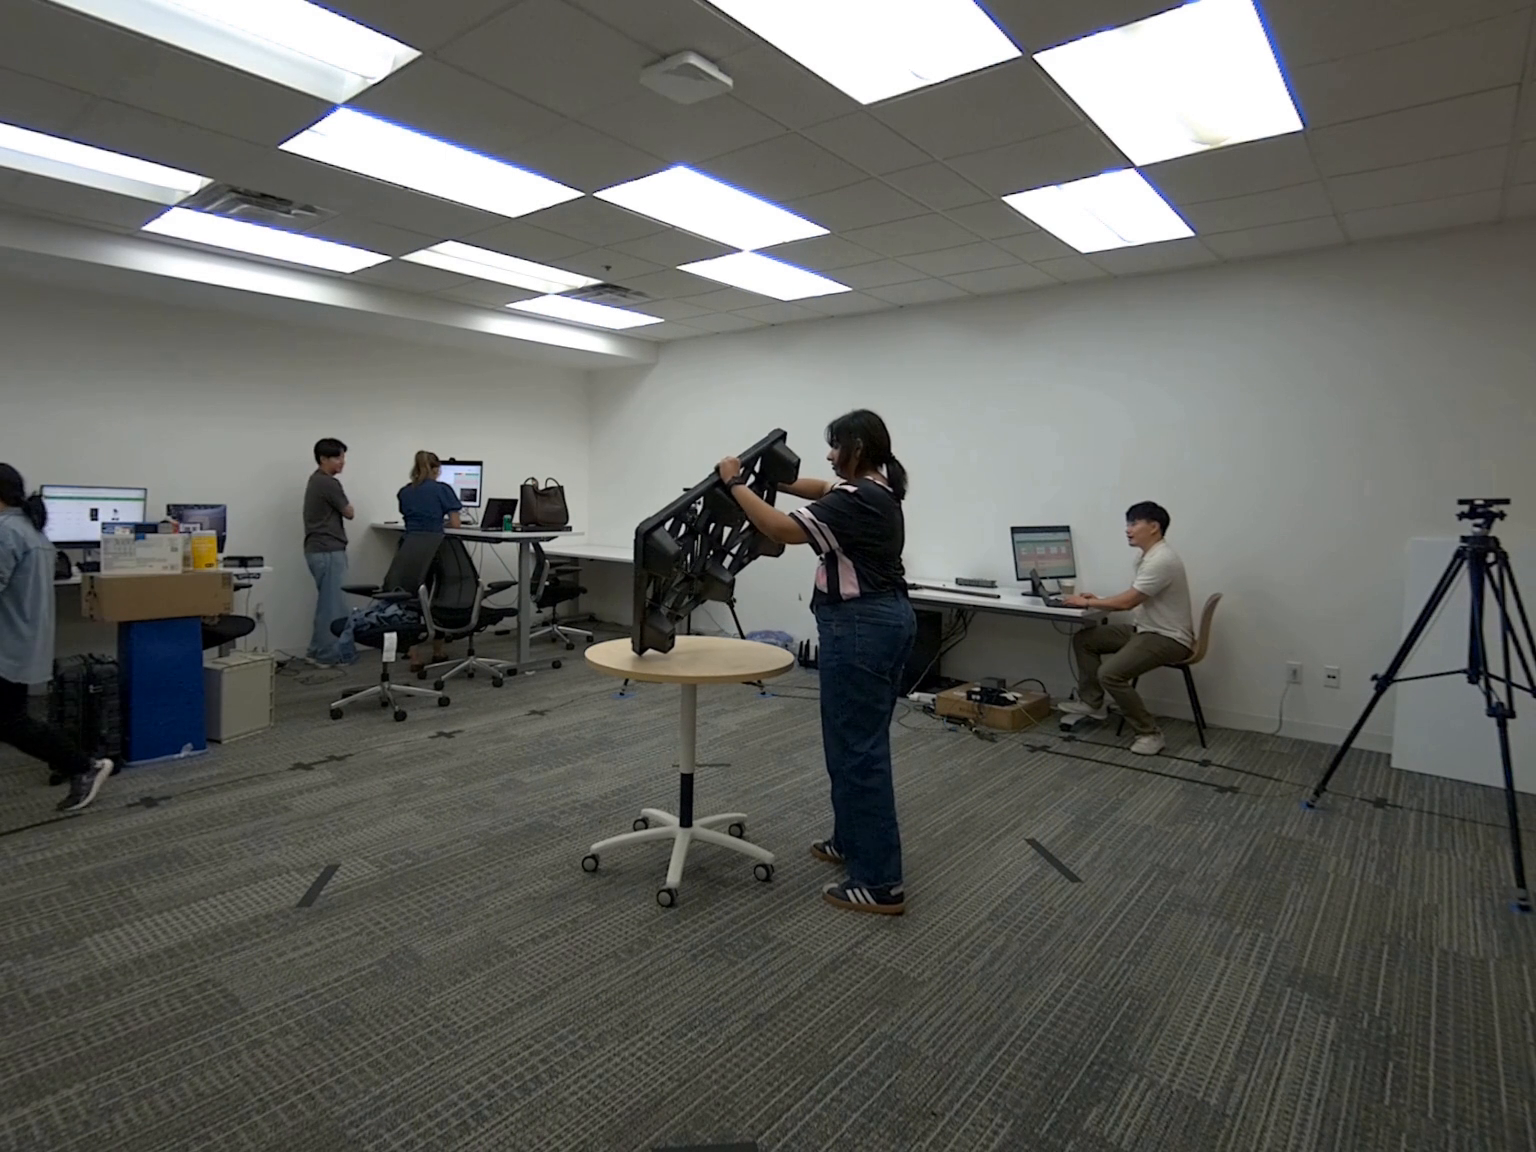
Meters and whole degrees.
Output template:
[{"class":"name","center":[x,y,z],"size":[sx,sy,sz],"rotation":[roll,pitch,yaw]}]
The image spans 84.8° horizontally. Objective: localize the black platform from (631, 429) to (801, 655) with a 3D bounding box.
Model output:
[{"class":"black platform","center":[-0.180,-0.117,3.087],"size":[0.147,0.591,0.801],"rotation":[31,48,20]}]
